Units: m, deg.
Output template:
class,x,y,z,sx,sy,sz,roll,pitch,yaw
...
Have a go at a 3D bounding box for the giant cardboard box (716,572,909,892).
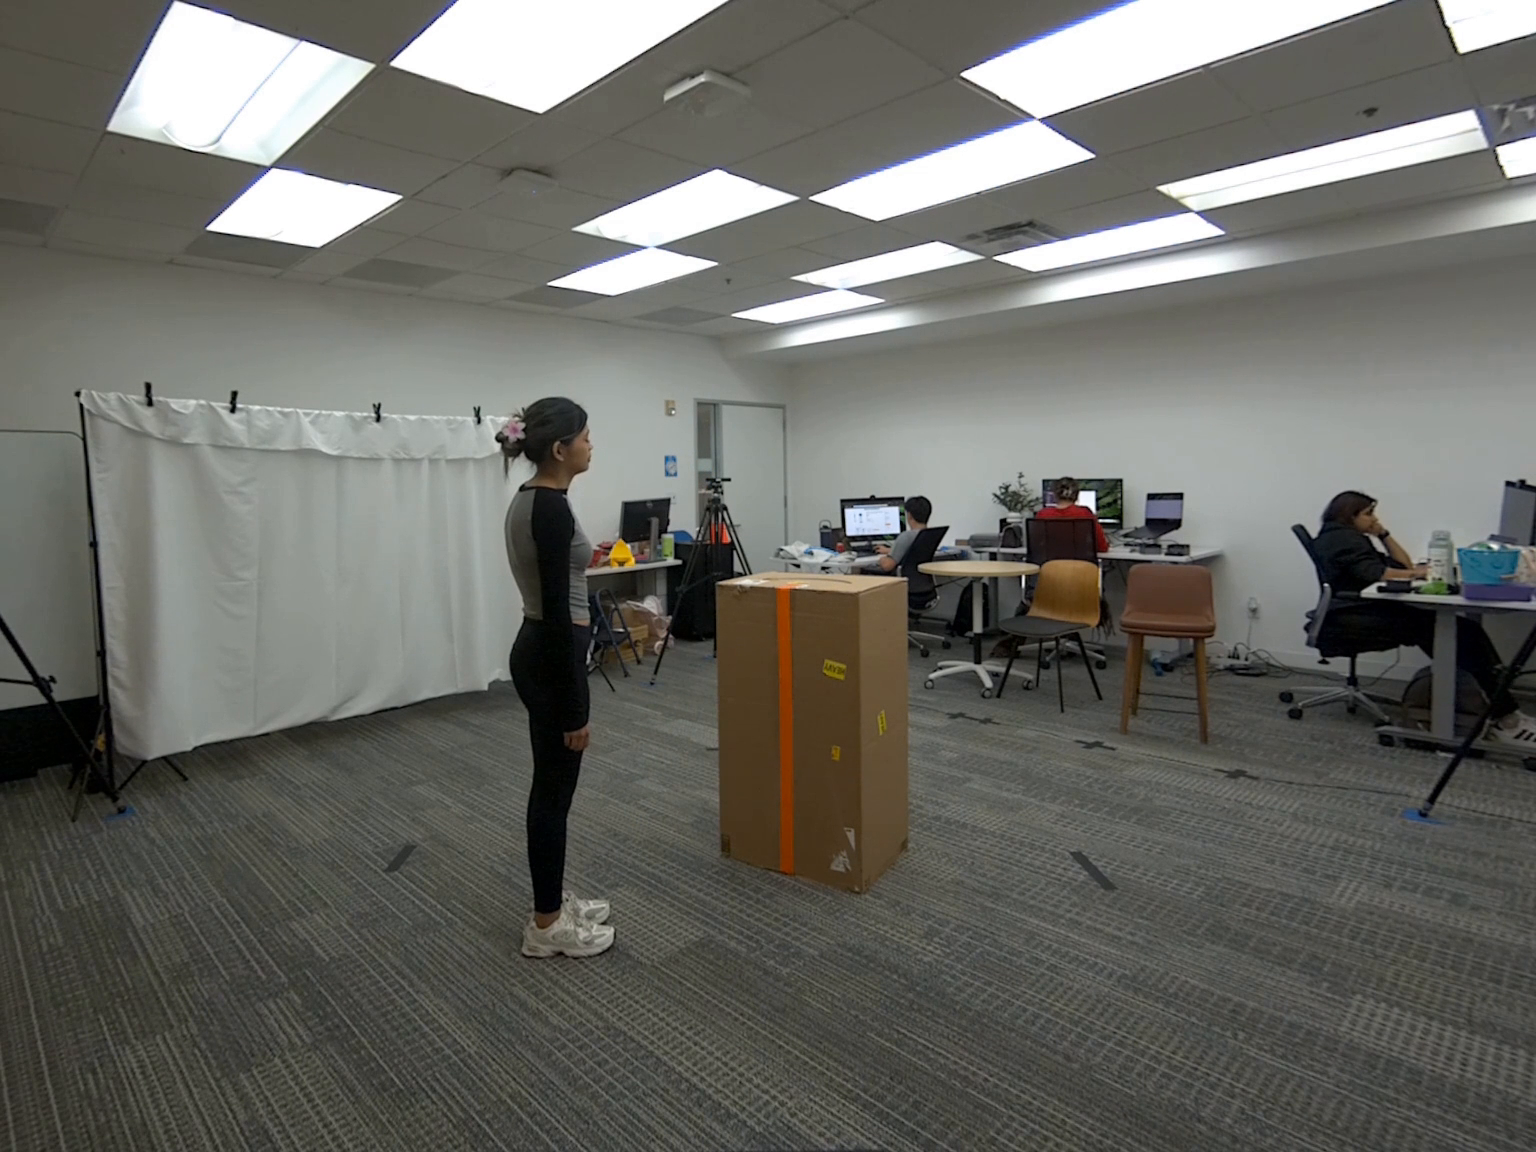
class,x,y,z,sx,sy,sz,roll,pitch,yaw
giant cardboard box,0.169,0.524,3.149,0.593,1.022,0.416,1,5,34
